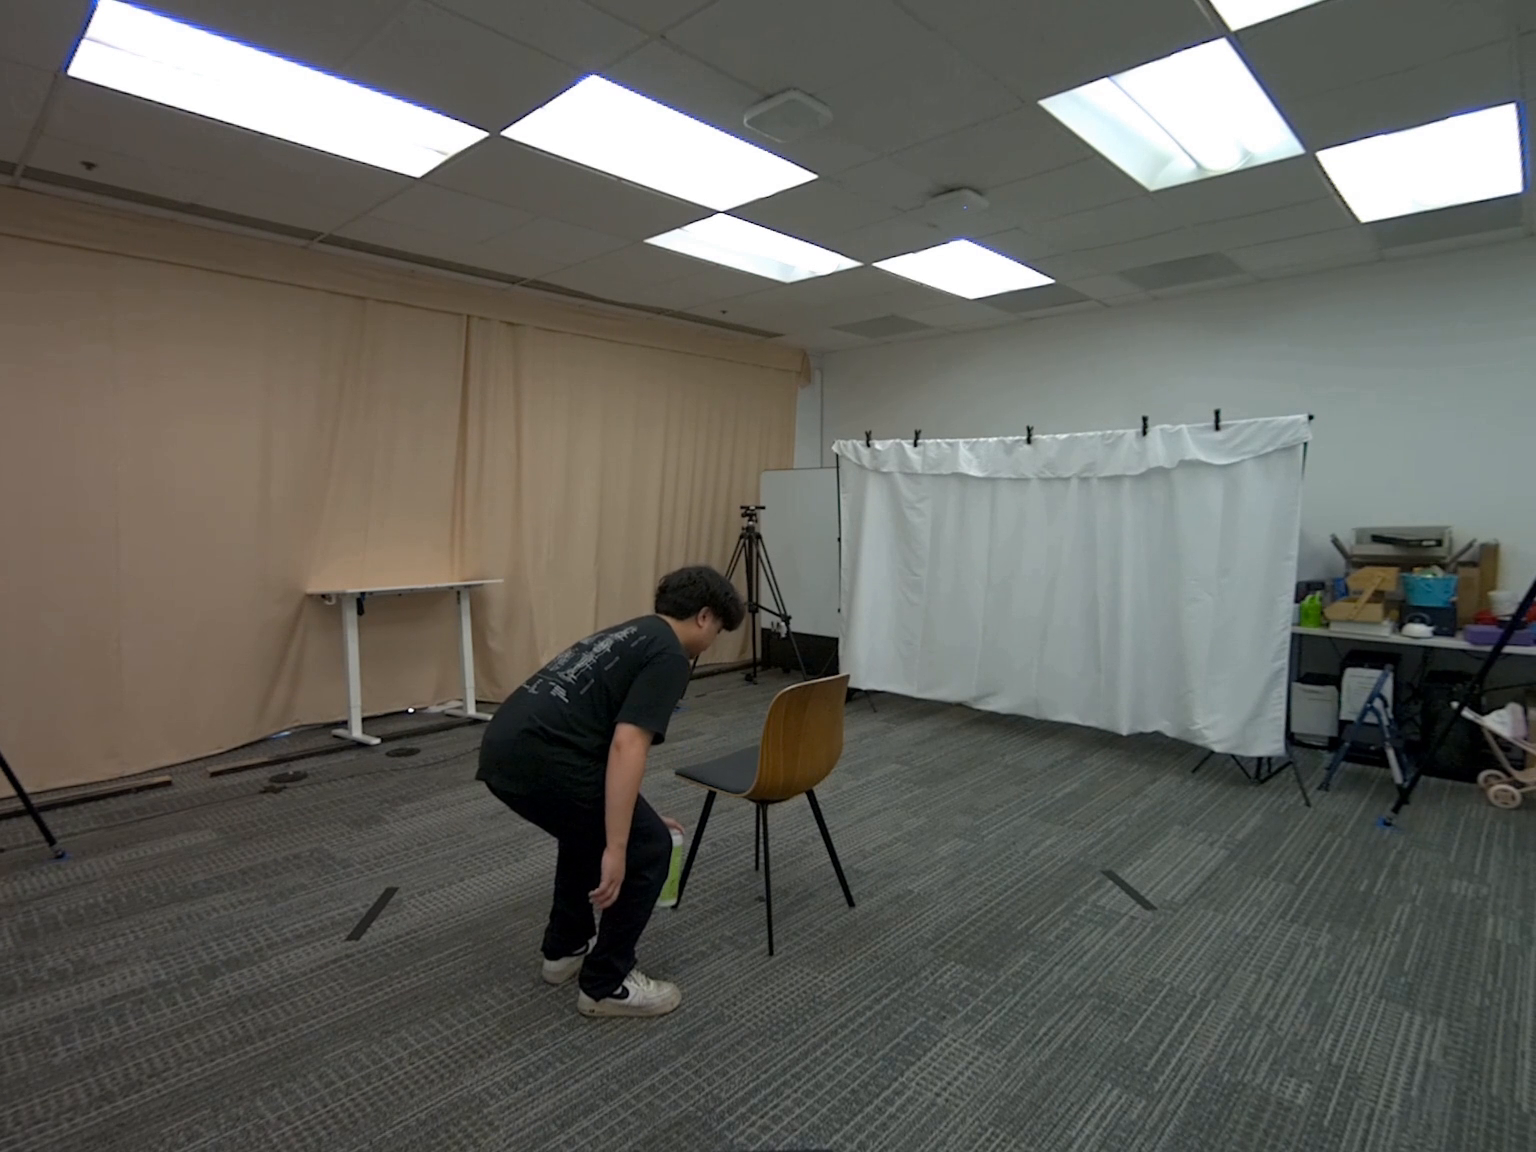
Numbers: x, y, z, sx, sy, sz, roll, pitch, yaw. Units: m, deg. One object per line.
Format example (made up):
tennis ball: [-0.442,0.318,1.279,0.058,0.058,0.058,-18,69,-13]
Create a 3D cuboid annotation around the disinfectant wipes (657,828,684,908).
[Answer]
disinfectant wipes: [-0.329,0.911,2.592,0.118,0.218,0.118,5,-2,-2]
